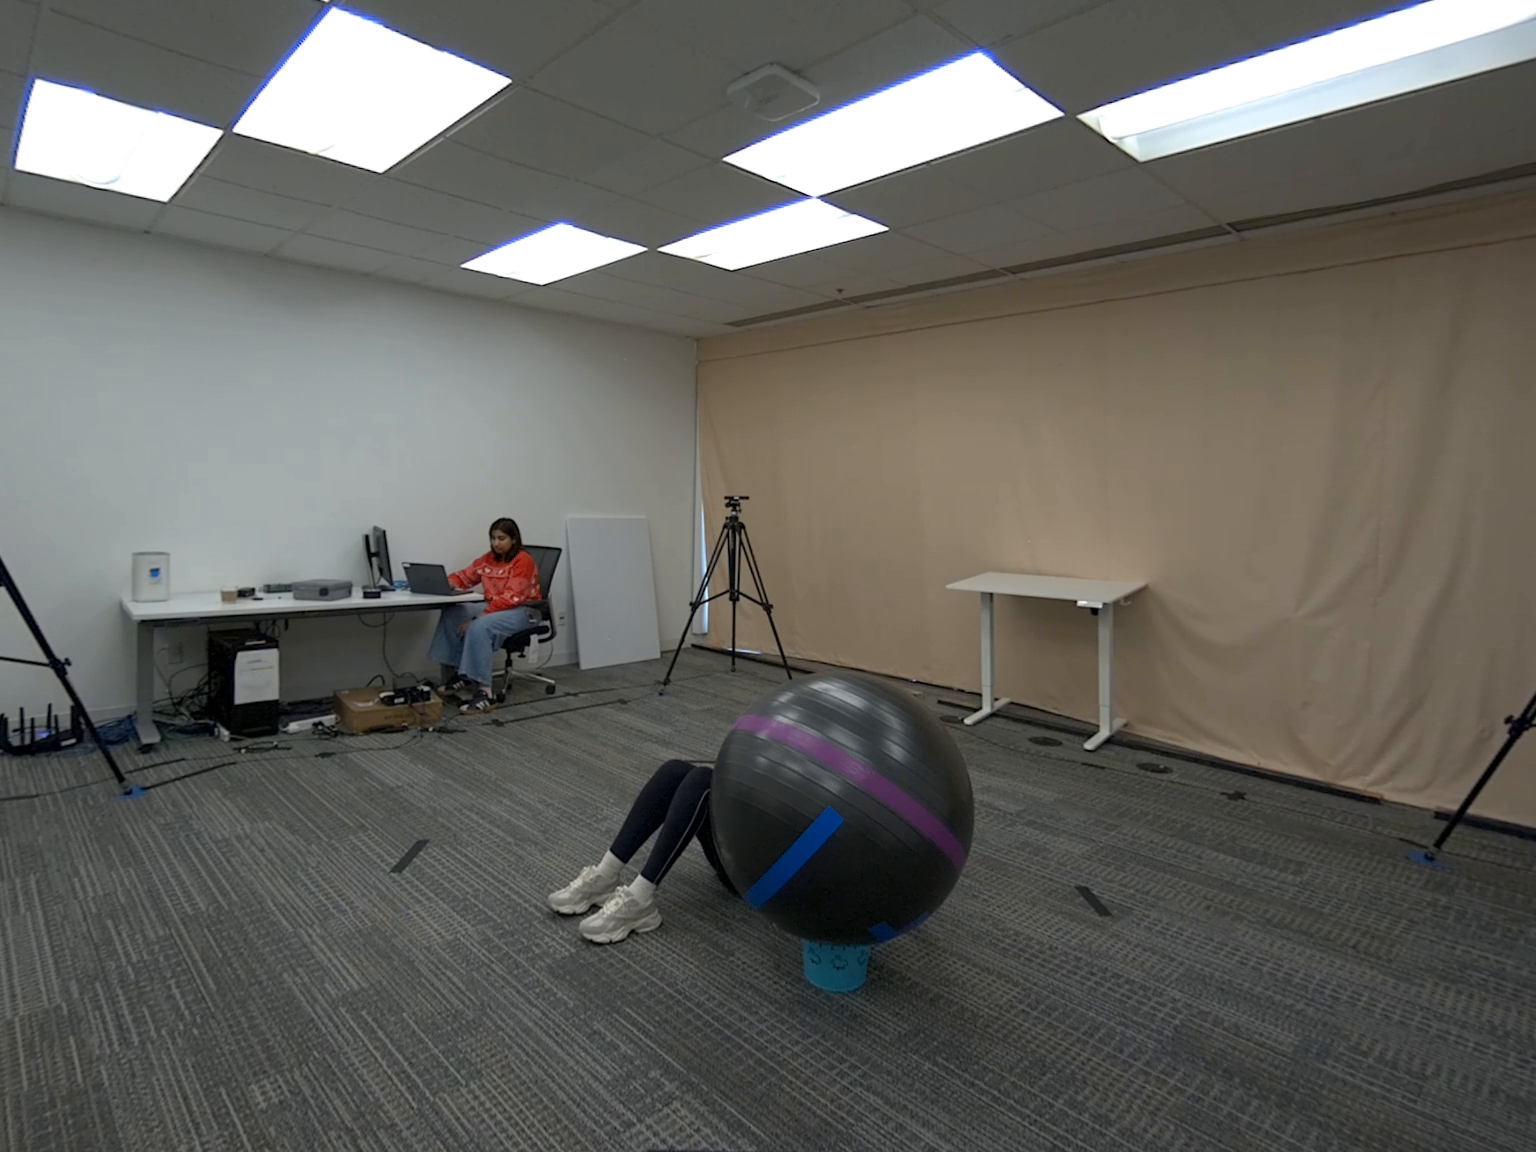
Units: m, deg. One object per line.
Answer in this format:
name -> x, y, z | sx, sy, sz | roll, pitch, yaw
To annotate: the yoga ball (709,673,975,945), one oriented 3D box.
yoga ball -> 0.214, 0.667, 2.445 | 0.757, 0.754, 0.762 | 0, 7, -1
